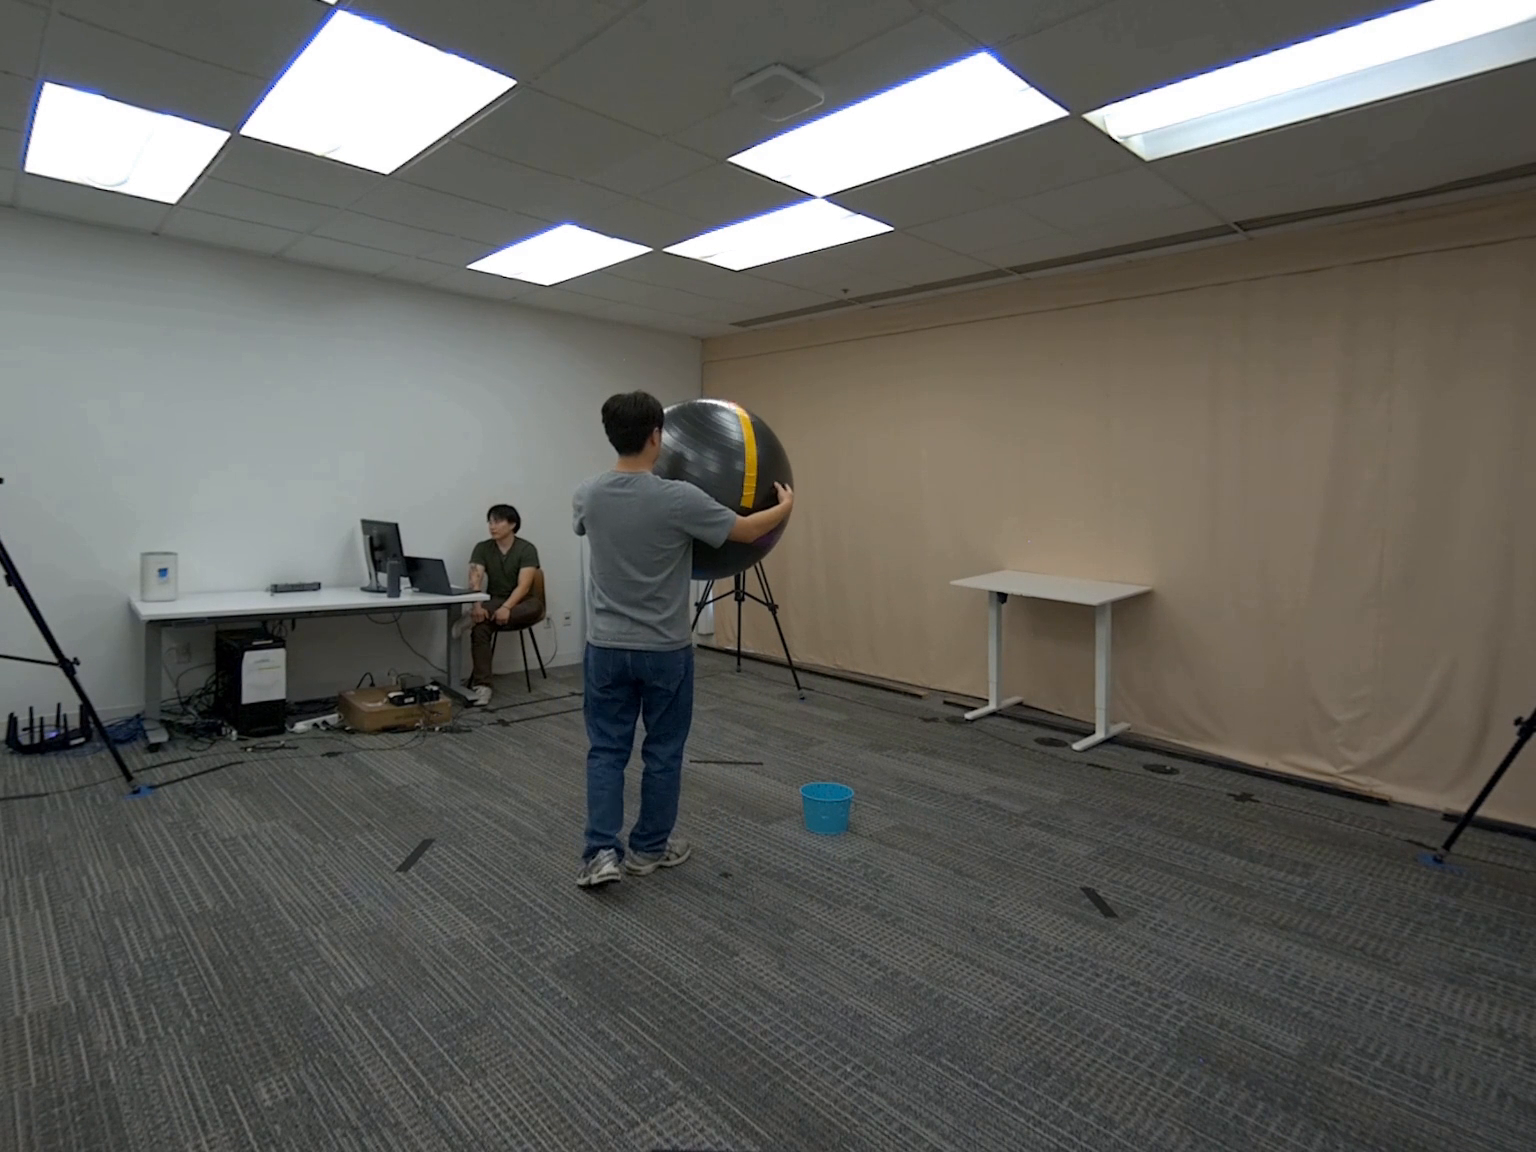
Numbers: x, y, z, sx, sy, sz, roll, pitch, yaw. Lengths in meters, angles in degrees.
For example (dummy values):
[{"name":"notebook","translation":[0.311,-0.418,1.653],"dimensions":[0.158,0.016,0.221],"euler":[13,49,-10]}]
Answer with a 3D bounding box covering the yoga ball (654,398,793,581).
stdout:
[{"name":"yoga ball","translation":[-0.272,-0.355,3.540],"dimensions":[0.757,0.756,0.761],"euler":[1,4,-1]}]
